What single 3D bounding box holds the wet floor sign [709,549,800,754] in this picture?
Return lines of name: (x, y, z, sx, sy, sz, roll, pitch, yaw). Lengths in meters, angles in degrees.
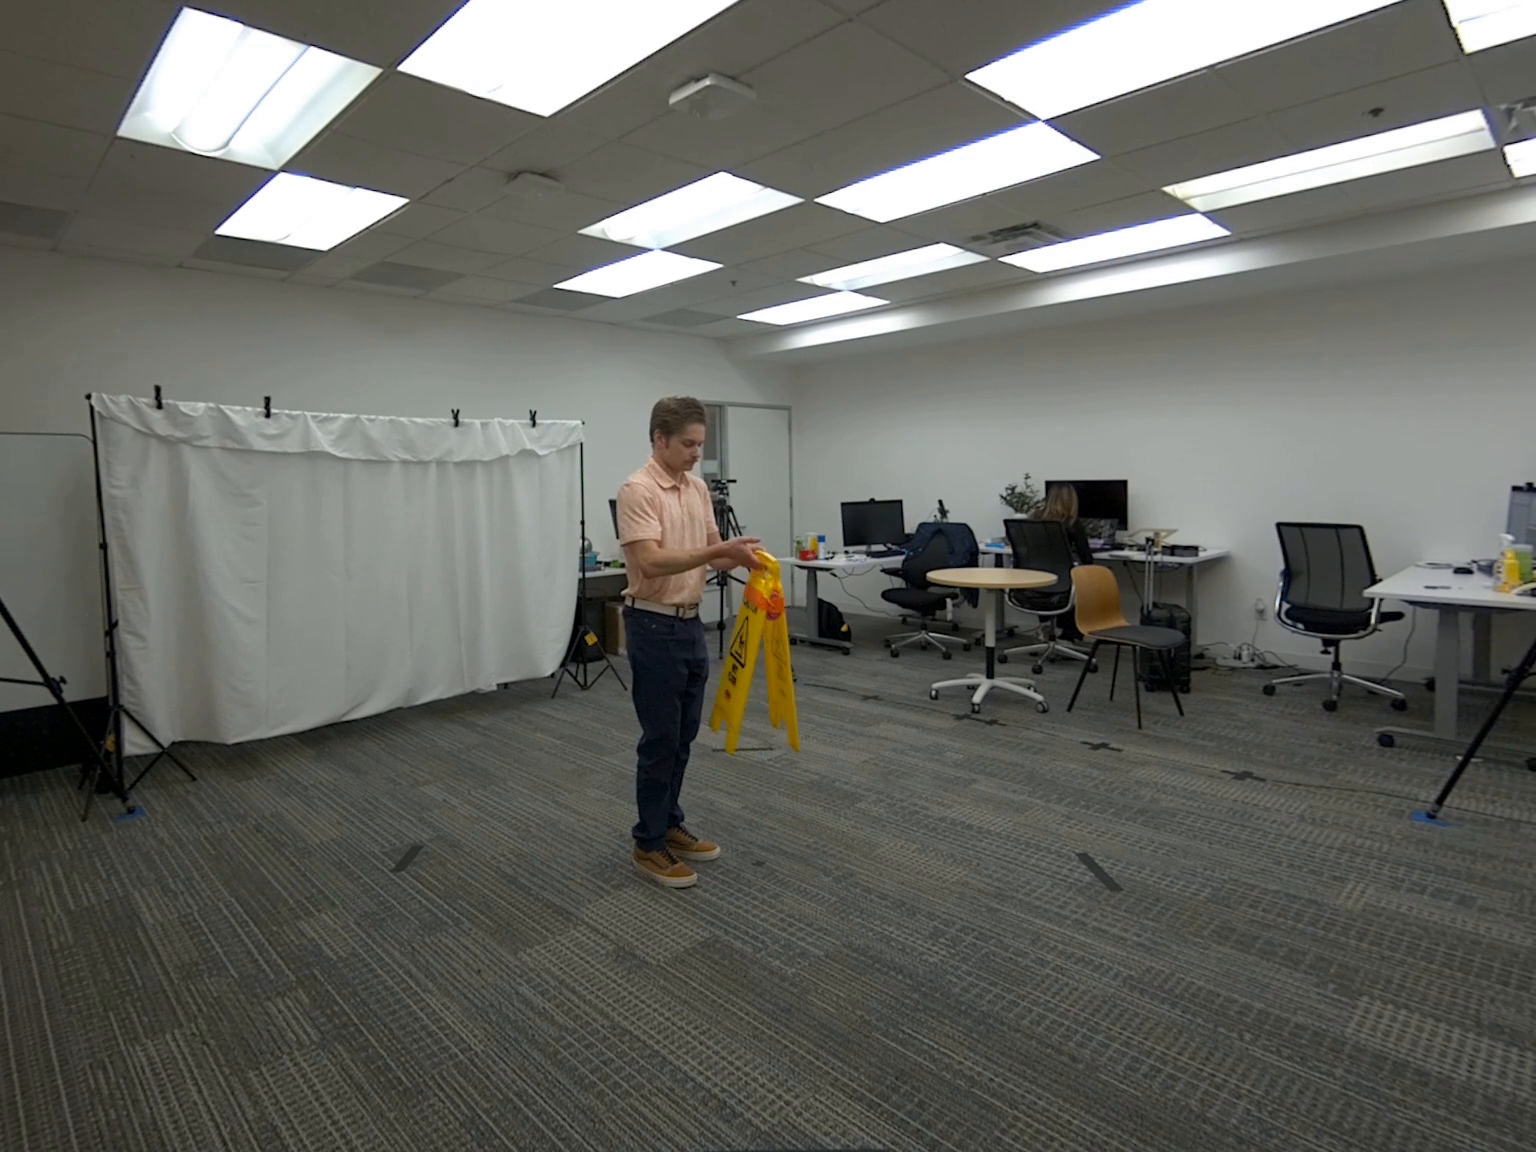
wet floor sign: (-0.029, 0.245, 2.914, 0.285, 0.642, 0.288, 1, 8, -16)
